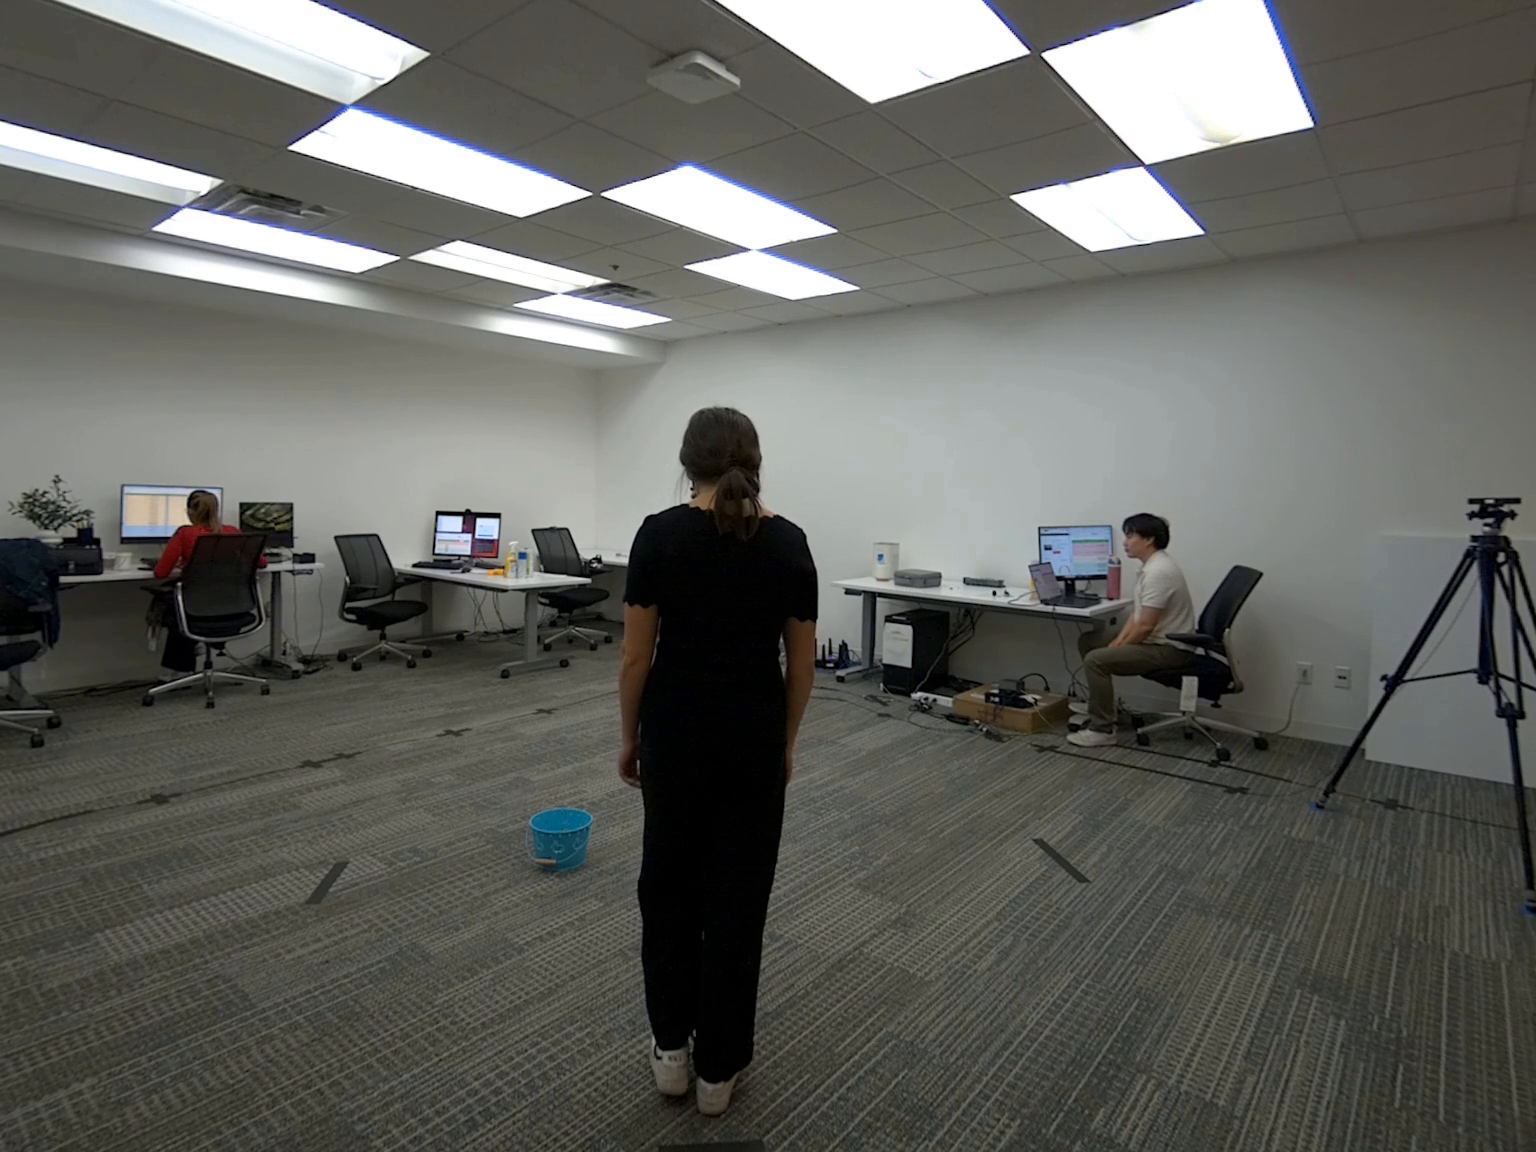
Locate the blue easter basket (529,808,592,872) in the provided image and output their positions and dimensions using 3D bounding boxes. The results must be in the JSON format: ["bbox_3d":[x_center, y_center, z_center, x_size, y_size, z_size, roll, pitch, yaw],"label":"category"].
[{"bbox_3d":[-0.783,0.973,3.147,0.243,0.155,0.245,1,4,-2],"label":"blue easter basket"}]
